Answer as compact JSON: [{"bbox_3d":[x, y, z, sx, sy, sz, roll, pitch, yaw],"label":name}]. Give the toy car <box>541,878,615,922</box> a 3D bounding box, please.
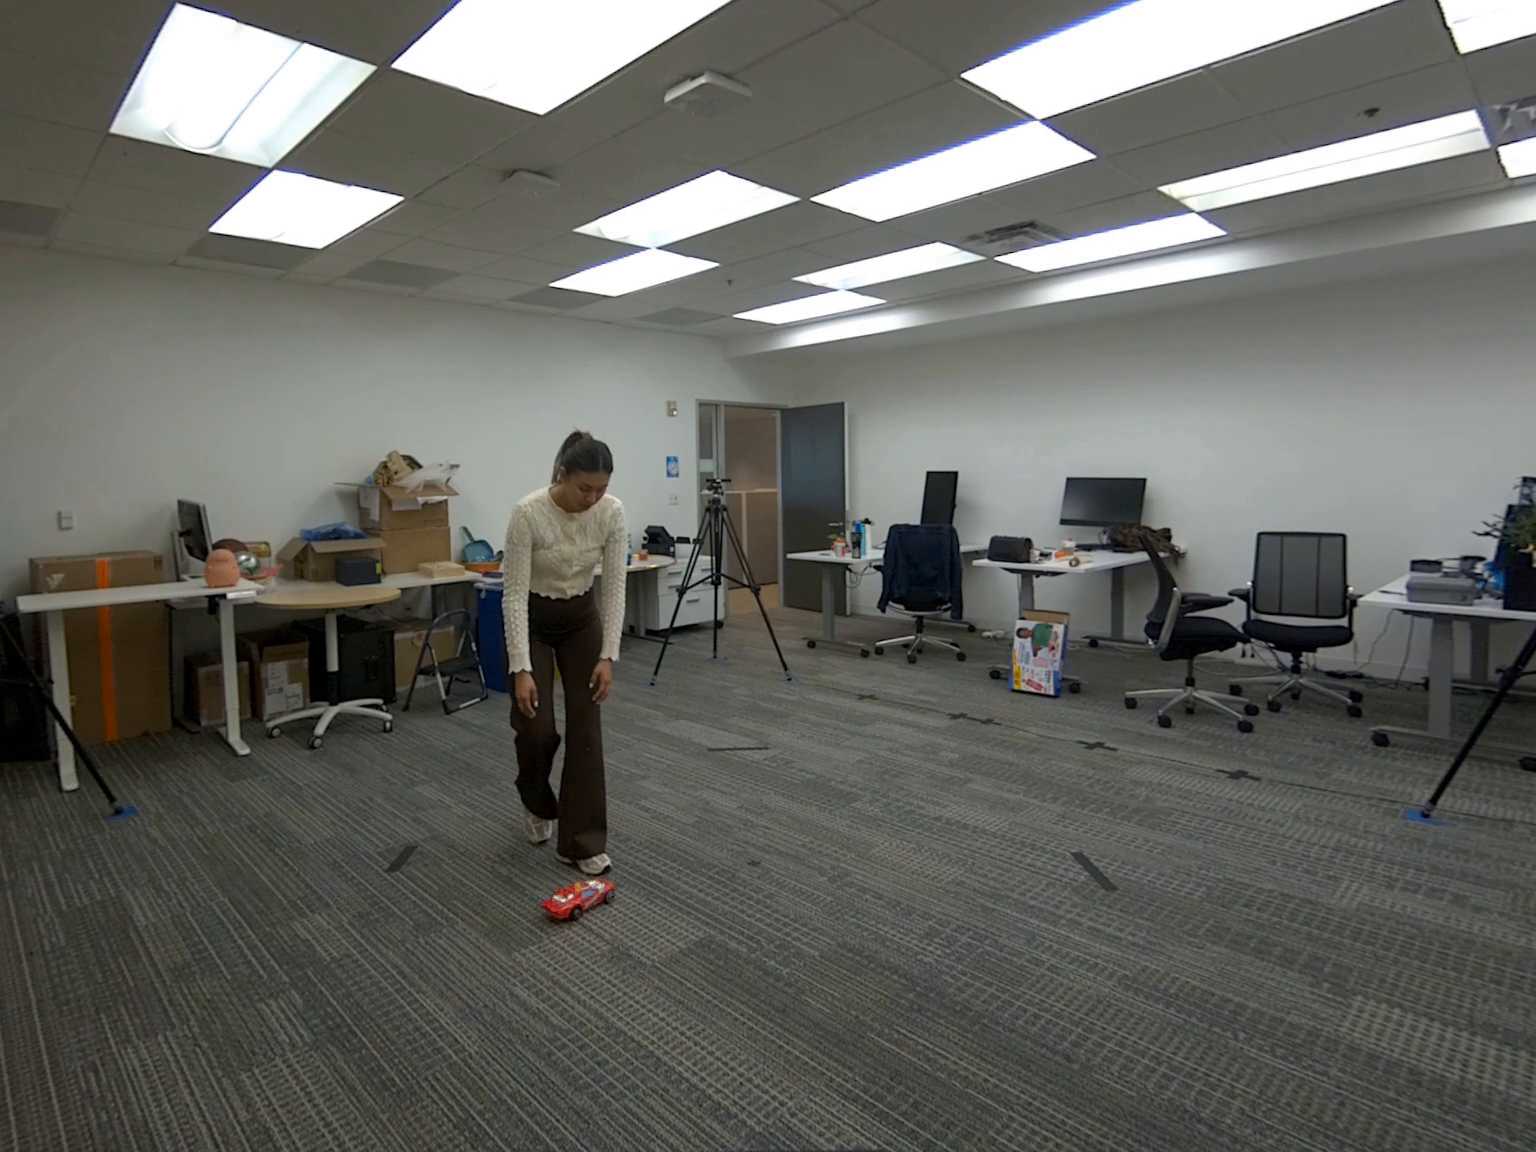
[{"bbox_3d":[-0.623,1.062,2.792,0.134,0.083,0.246,4,-3,39],"label":"toy car"}]
